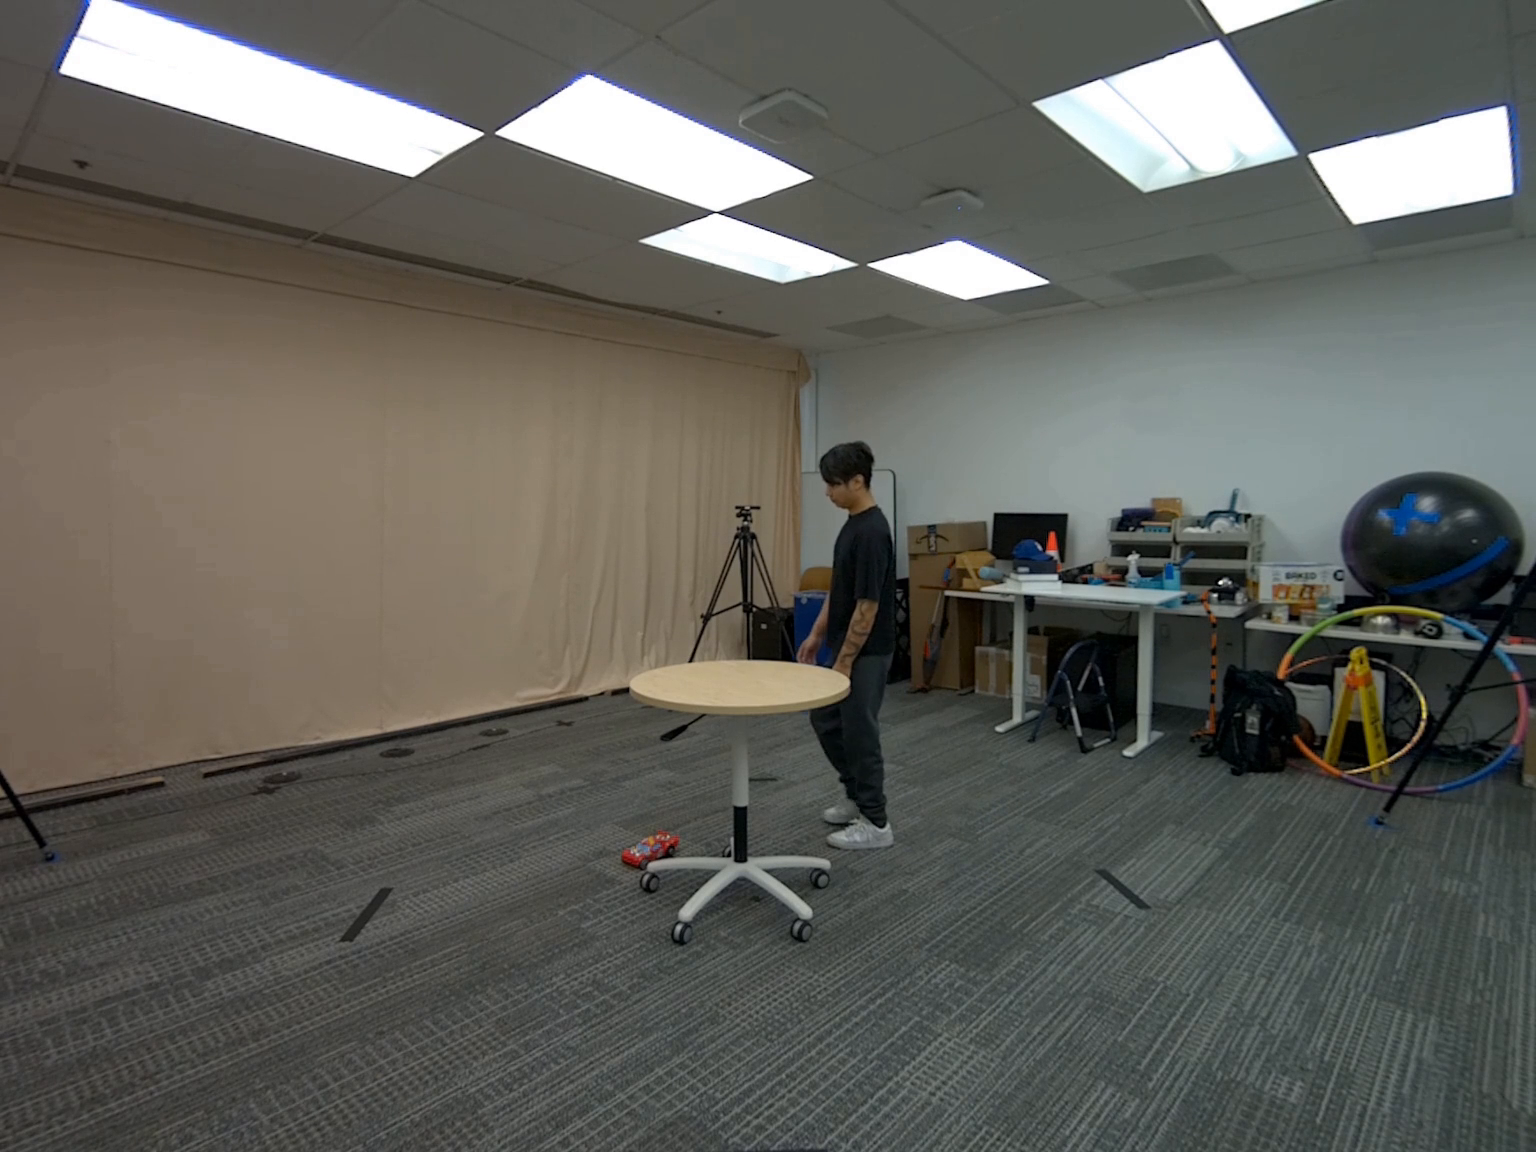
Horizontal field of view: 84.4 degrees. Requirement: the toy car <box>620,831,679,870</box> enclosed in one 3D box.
[{"bbox_3d":[-0.460,1.085,3.342,0.134,0.082,0.249,2,16,39],"label":"toy car"}]
